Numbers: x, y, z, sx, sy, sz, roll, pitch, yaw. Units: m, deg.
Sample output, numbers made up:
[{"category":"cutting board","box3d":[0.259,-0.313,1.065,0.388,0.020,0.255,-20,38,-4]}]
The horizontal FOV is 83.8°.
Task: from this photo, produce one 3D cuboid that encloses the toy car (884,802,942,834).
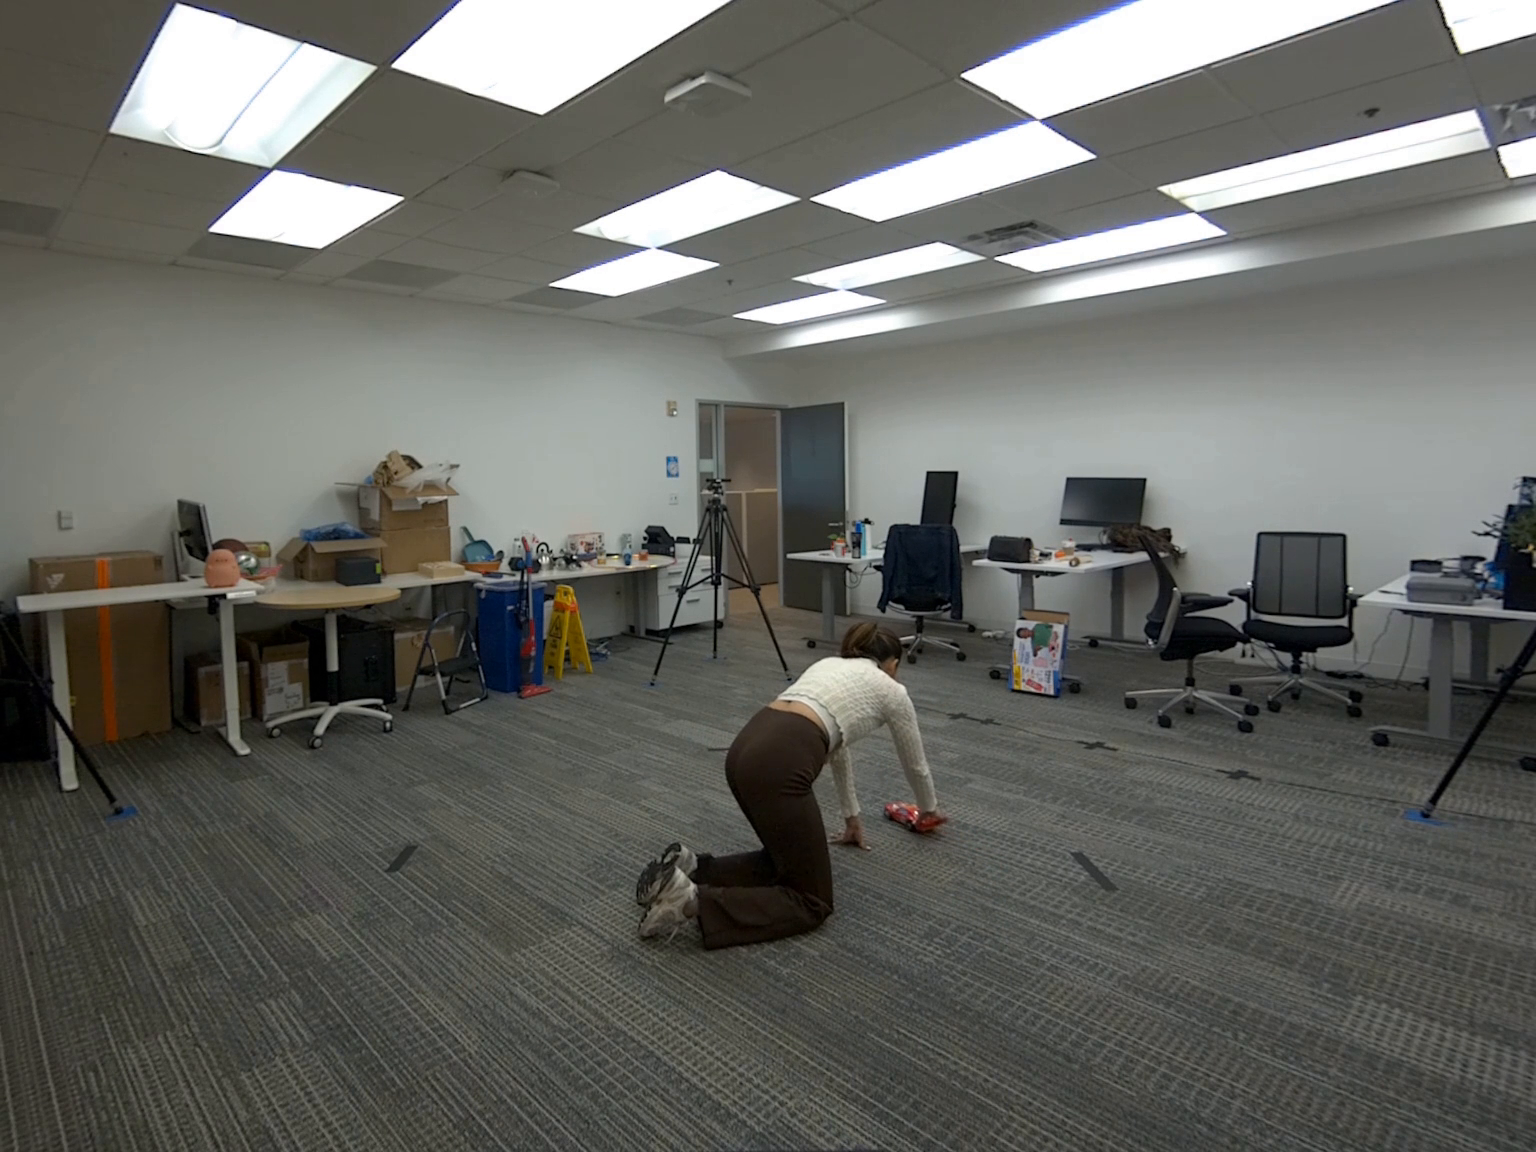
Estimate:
[{"category":"toy car","box3d":[0.580,0.965,3.426,0.127,0.083,0.259,-4,-4,-29]}]
